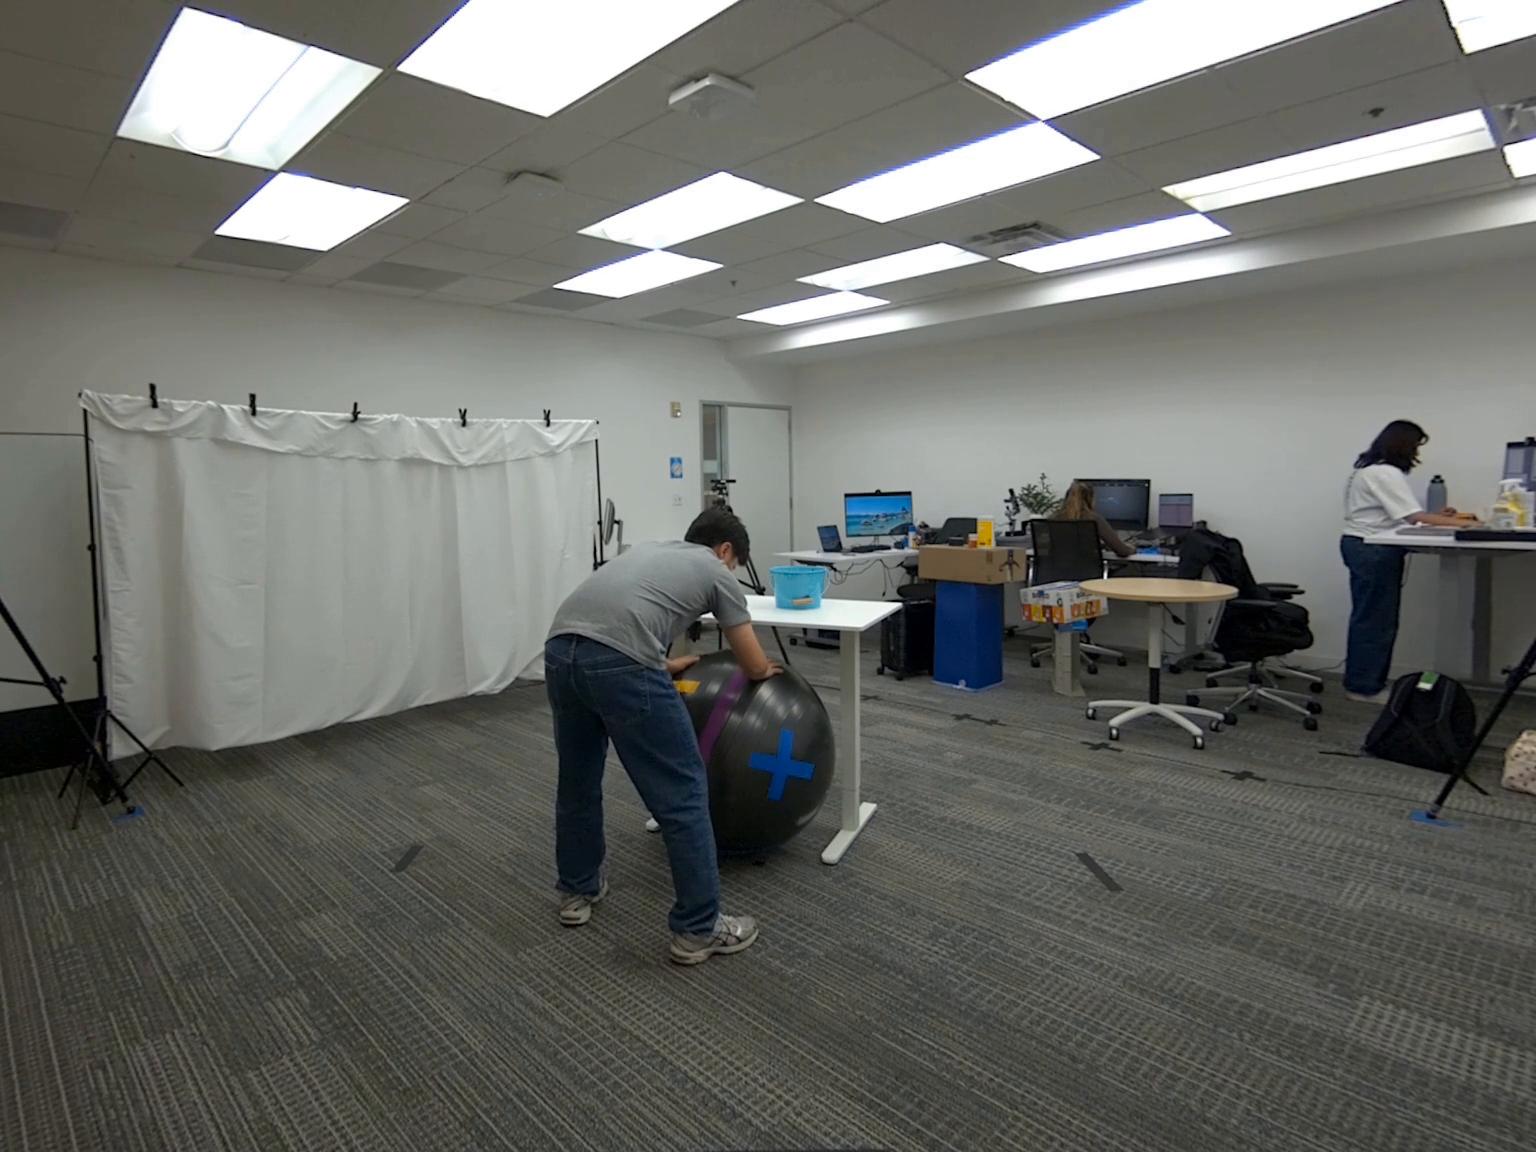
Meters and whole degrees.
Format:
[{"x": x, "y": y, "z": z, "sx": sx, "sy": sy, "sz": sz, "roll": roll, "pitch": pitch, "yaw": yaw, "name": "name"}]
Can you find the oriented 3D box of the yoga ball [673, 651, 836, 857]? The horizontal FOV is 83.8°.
[{"x": -0.129, "y": 0.665, "z": 3.244, "sx": 0.757, "sy": 0.755, "sz": 0.762, "roll": -1, "pitch": 5, "yaw": -2, "name": "yoga ball"}]
